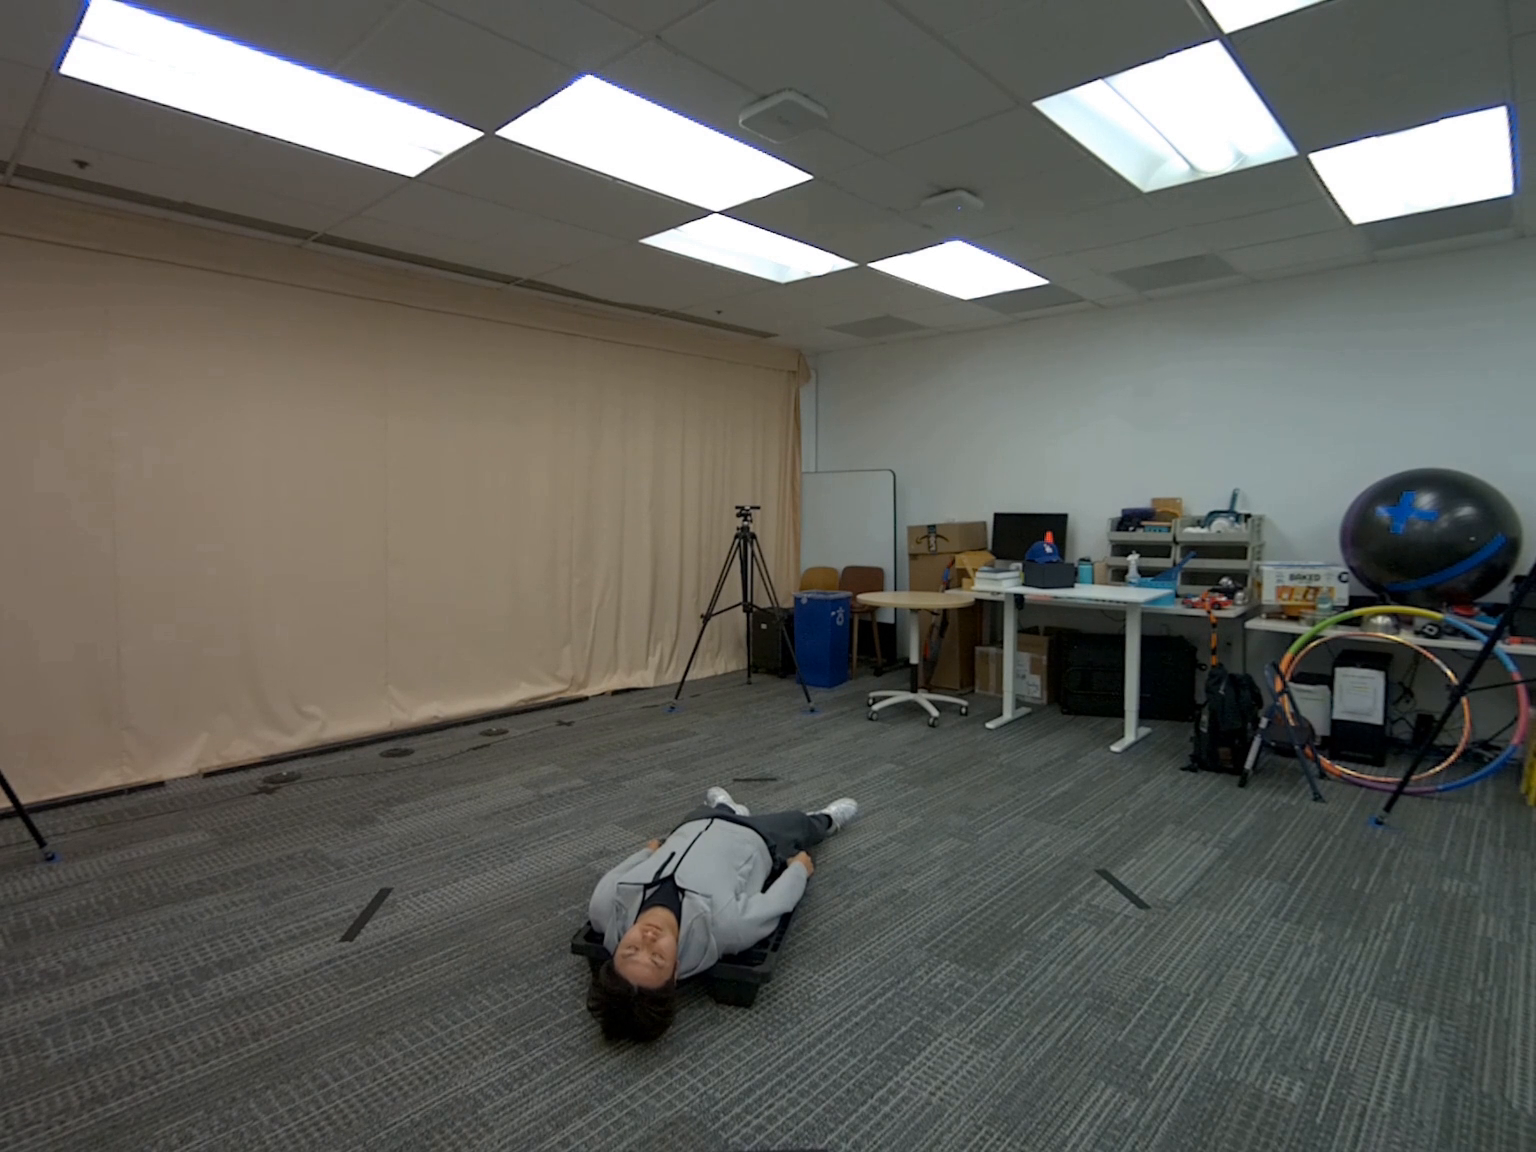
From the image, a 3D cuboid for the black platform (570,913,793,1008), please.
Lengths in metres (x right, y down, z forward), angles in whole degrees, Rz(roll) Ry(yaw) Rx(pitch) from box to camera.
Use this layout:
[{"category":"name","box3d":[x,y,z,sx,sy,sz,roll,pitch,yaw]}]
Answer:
[{"category":"black platform","box3d":[-0.196,1.082,2.738,0.616,0.143,0.793,5,7,16]}]
